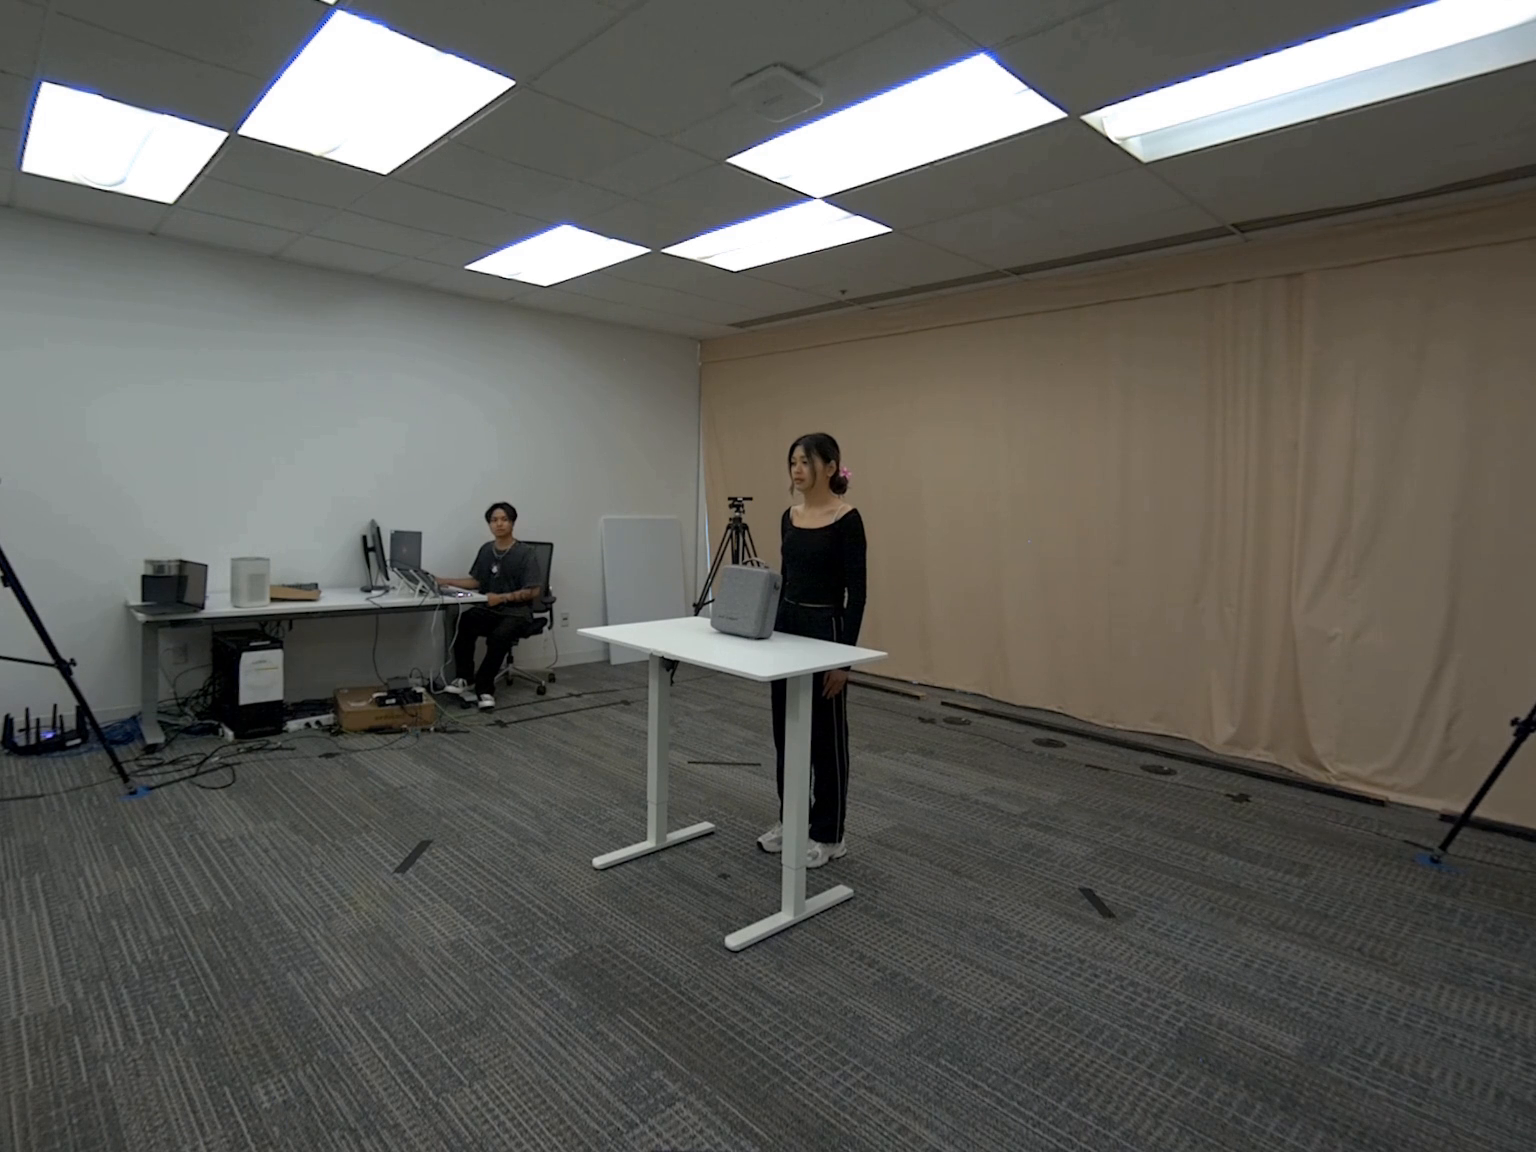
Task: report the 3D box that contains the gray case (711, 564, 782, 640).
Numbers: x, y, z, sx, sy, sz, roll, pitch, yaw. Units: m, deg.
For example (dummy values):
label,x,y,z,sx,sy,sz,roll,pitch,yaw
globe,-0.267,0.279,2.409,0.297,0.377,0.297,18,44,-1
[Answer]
label,x,y,z,sx,sy,sz,roll,pitch,yaw
gray case,-0.089,0.091,3.136,0.101,0.261,0.263,13,-4,-43
